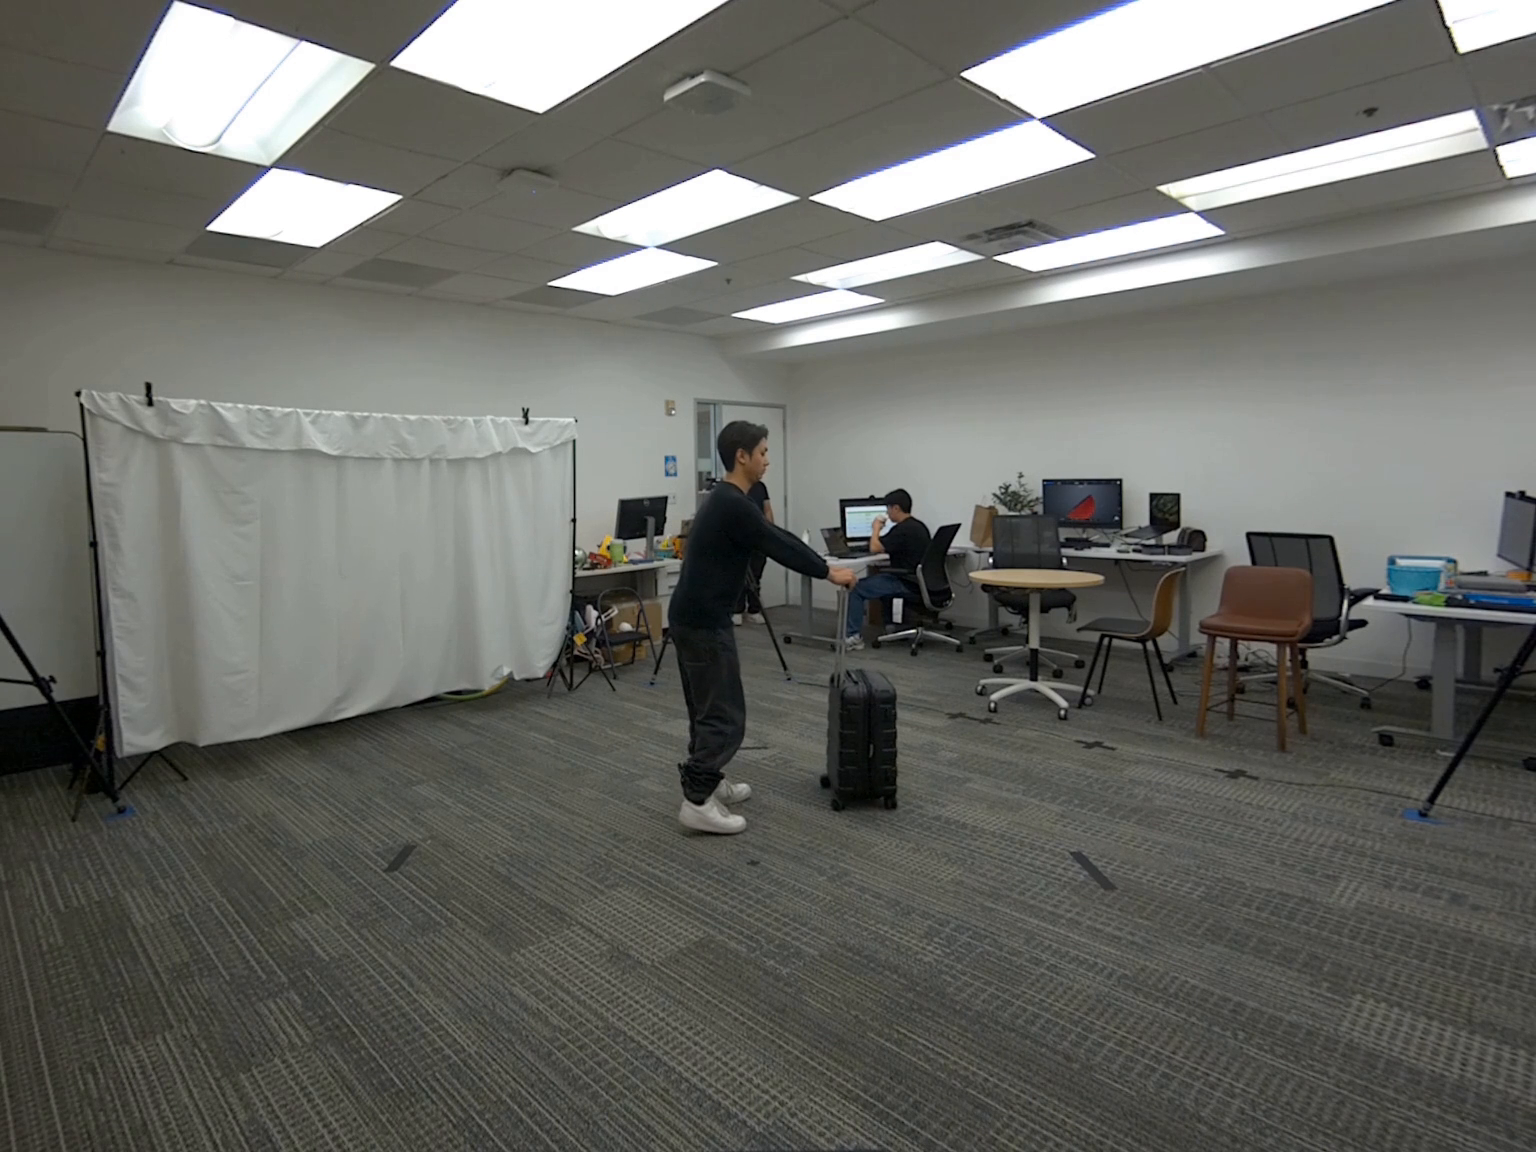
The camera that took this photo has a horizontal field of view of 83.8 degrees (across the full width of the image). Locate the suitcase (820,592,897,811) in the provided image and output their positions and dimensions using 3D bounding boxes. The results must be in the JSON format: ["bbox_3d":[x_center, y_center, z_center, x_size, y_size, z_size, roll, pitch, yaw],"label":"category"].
[{"bbox_3d":[0.418,0.501,3.692,0.256,0.975,0.387,4,4,-4],"label":"suitcase"}]
